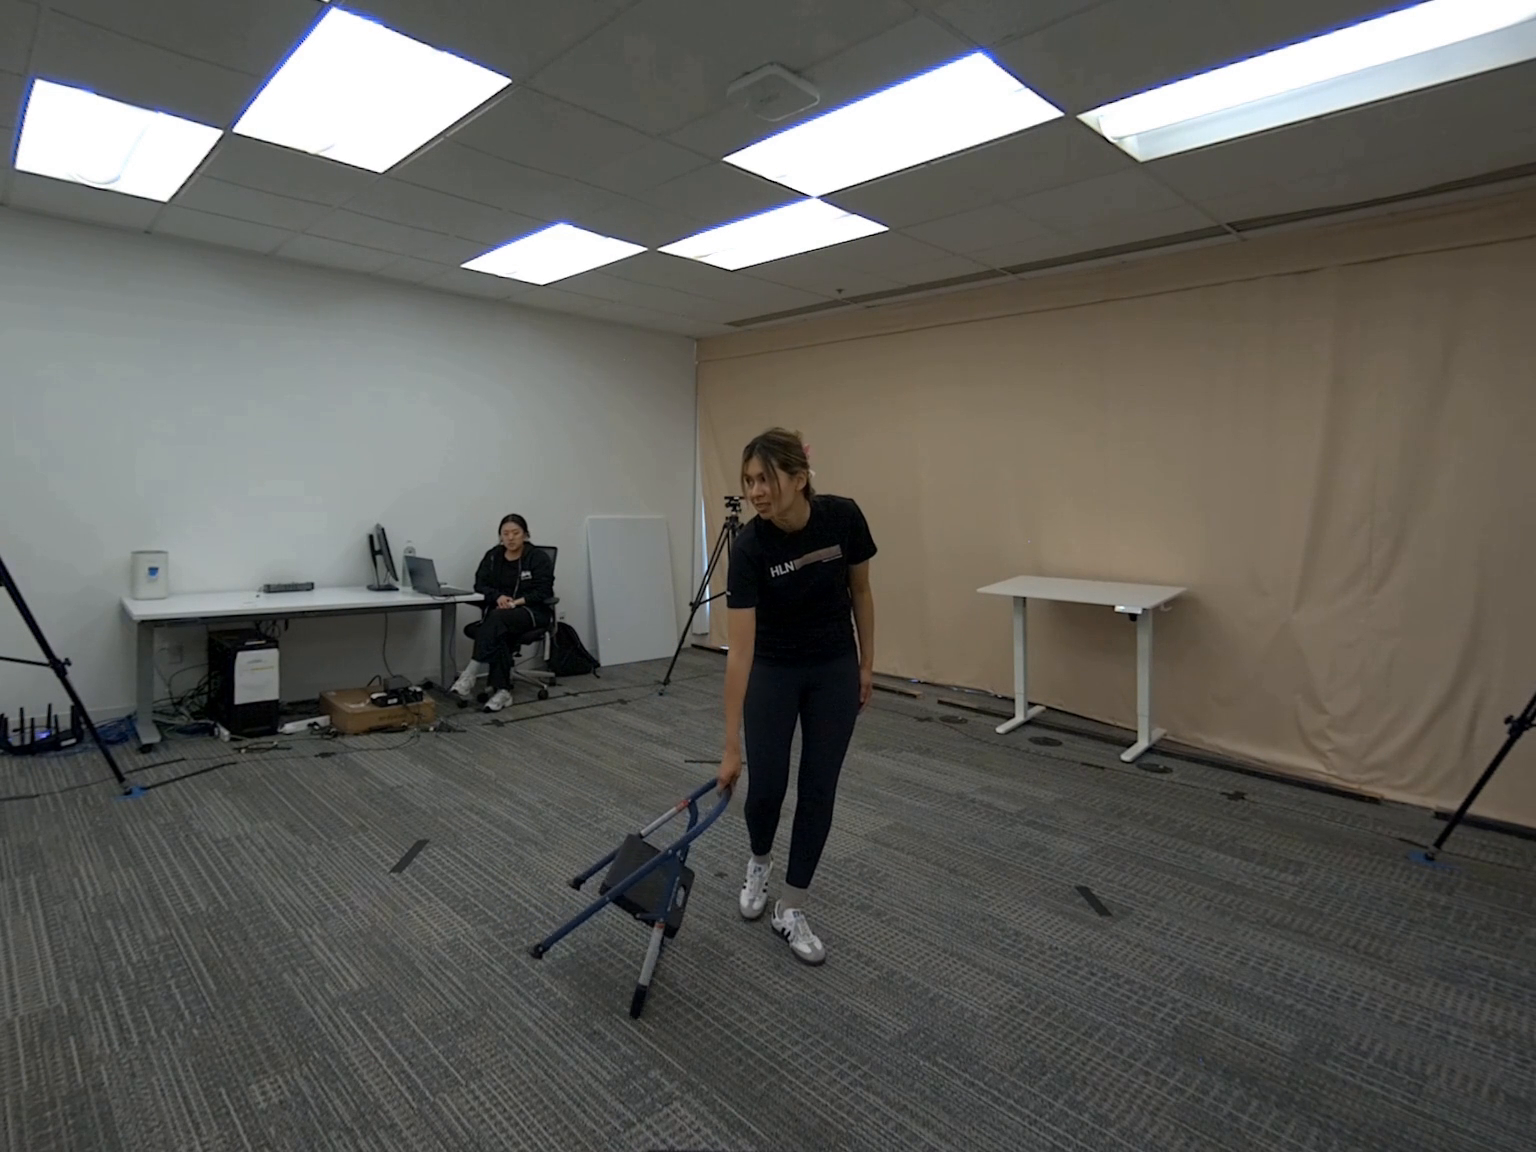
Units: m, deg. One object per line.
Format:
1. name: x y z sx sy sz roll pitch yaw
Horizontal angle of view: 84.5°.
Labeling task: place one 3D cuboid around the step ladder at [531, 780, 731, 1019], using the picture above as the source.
1. step ladder: -0.335 0.825 2.407 0.350 0.605 0.430 31 5 0
